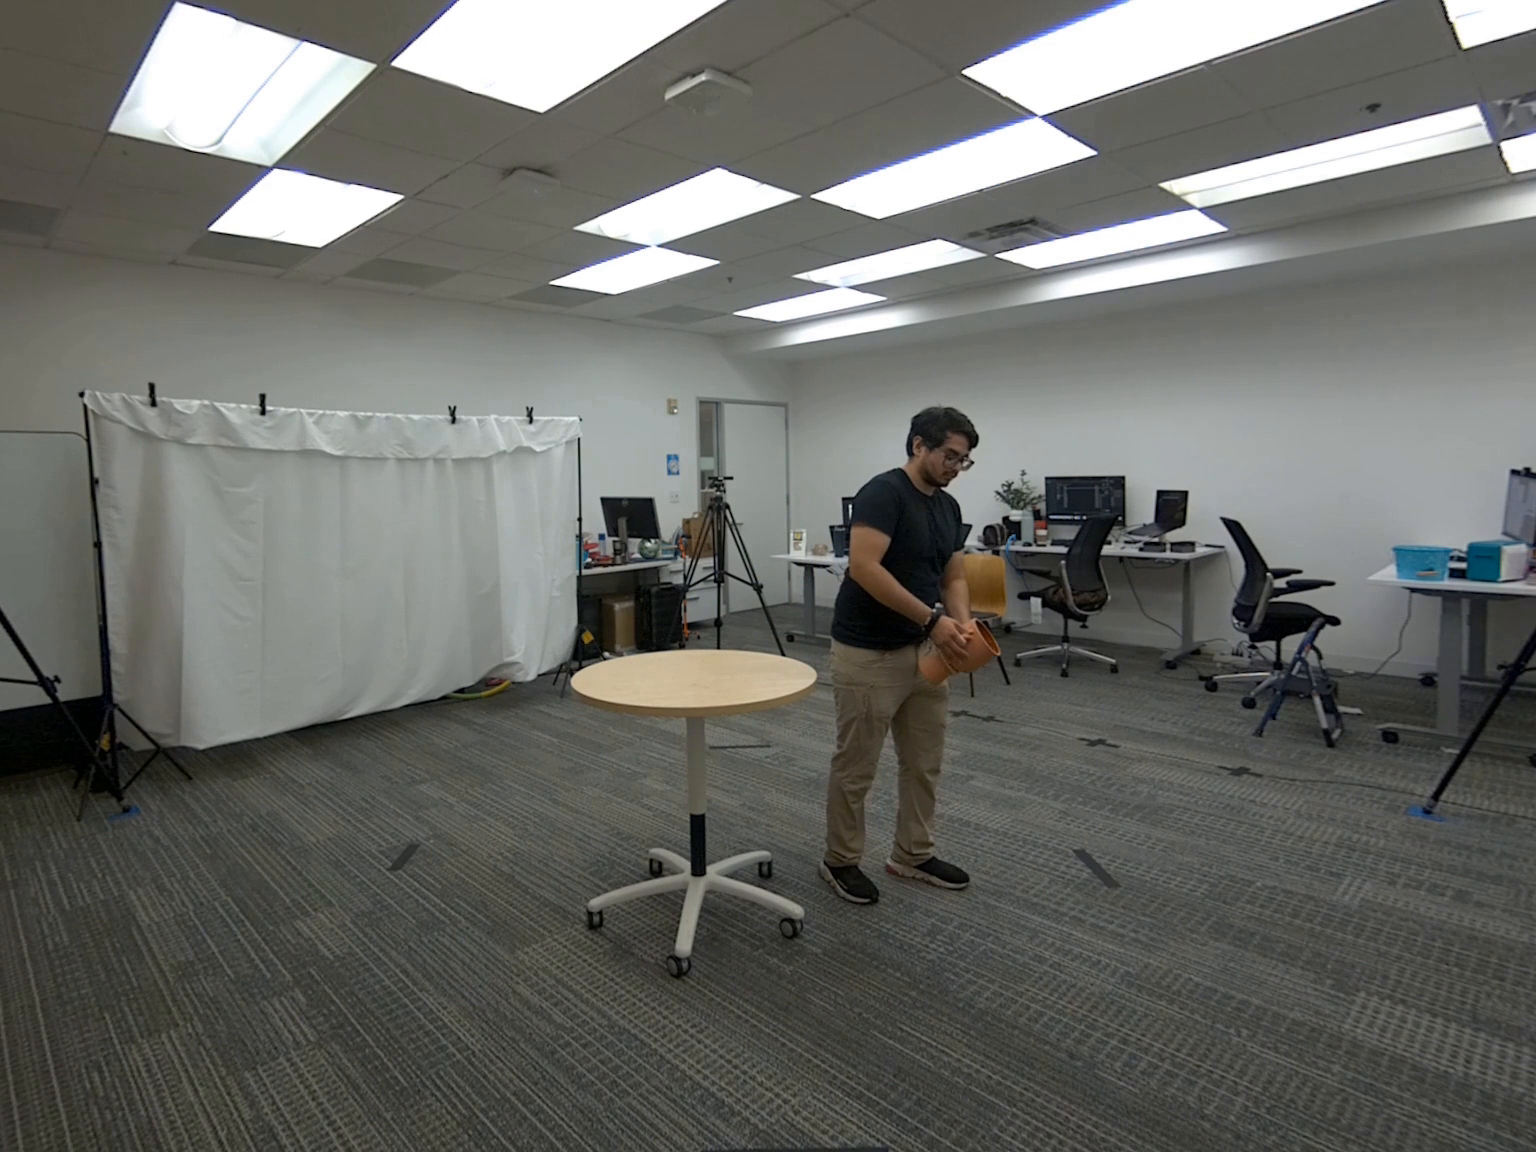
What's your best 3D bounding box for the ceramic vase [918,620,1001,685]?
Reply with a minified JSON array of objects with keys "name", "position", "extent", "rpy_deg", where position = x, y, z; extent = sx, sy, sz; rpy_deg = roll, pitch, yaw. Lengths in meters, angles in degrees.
[{"name":"ceramic vase","position":[0.586,0.245,2.608],"extent":[0.221,0.156,0.136],"rpy_deg":[-37,13,24]}]
